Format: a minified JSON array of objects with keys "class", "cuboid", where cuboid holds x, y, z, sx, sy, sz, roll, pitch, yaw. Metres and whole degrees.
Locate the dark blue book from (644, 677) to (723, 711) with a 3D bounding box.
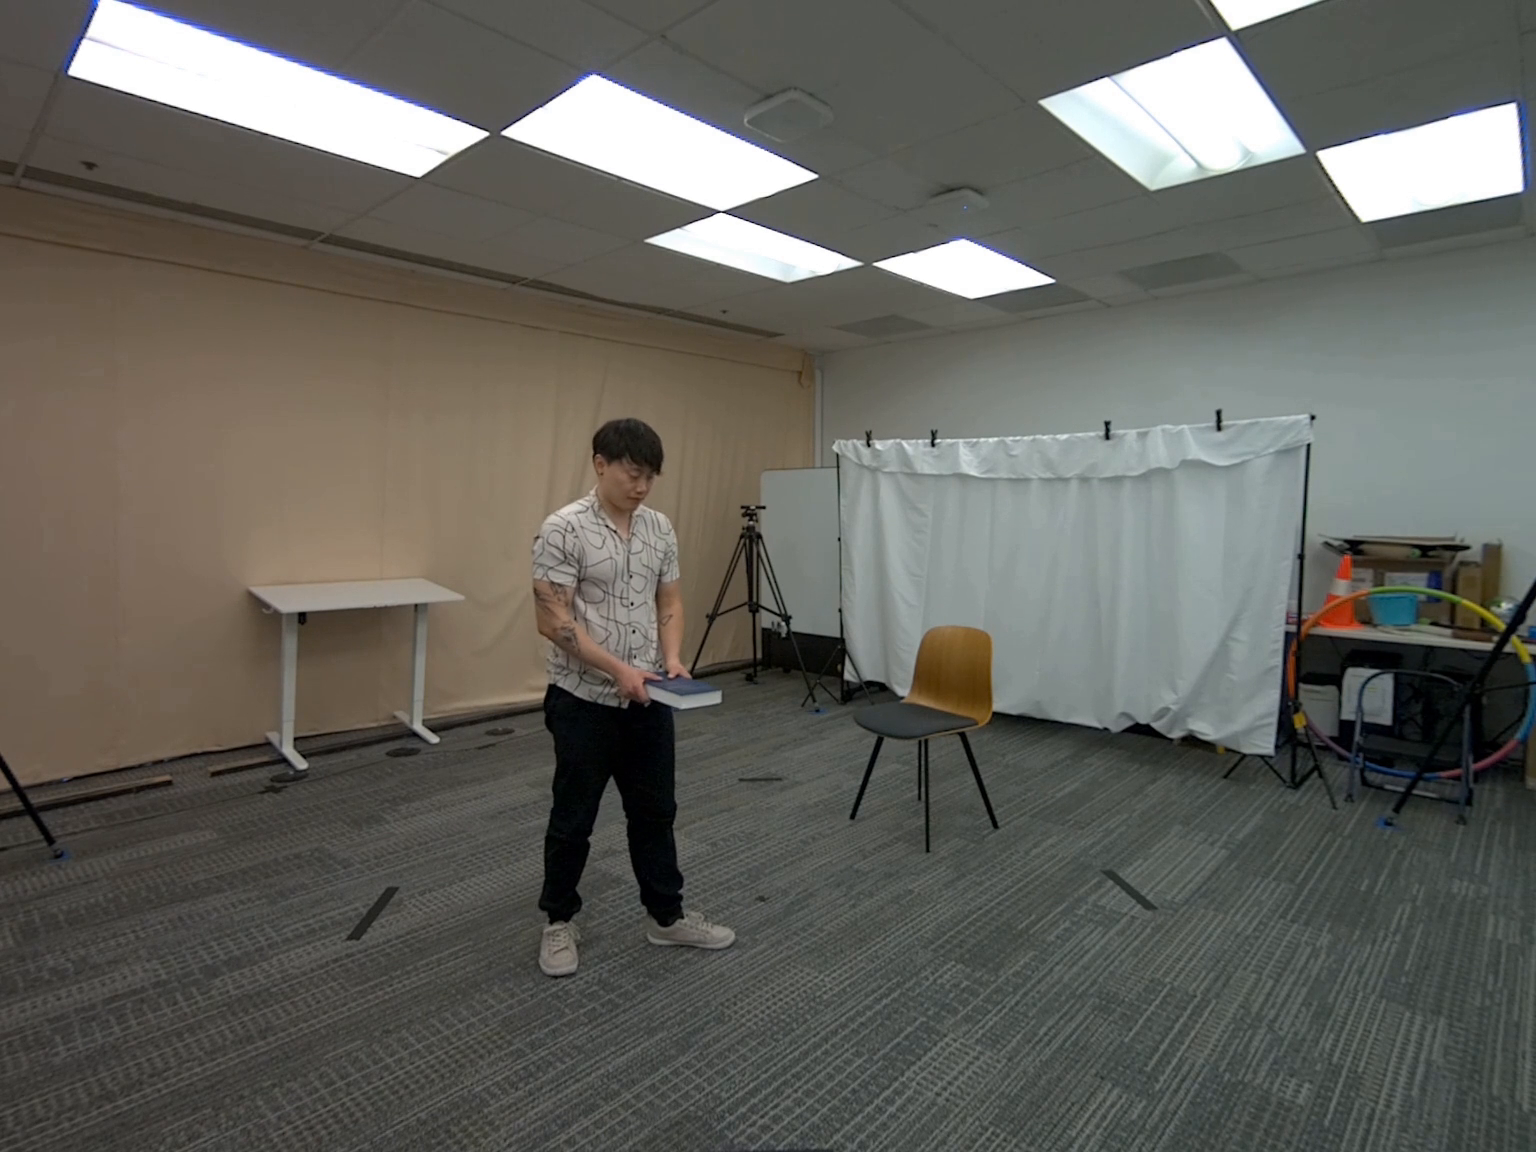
[{"class":"dark blue book","cuboid":[-0.273,0.324,2.389,0.253,0.045,0.158,8,6,42]}]
